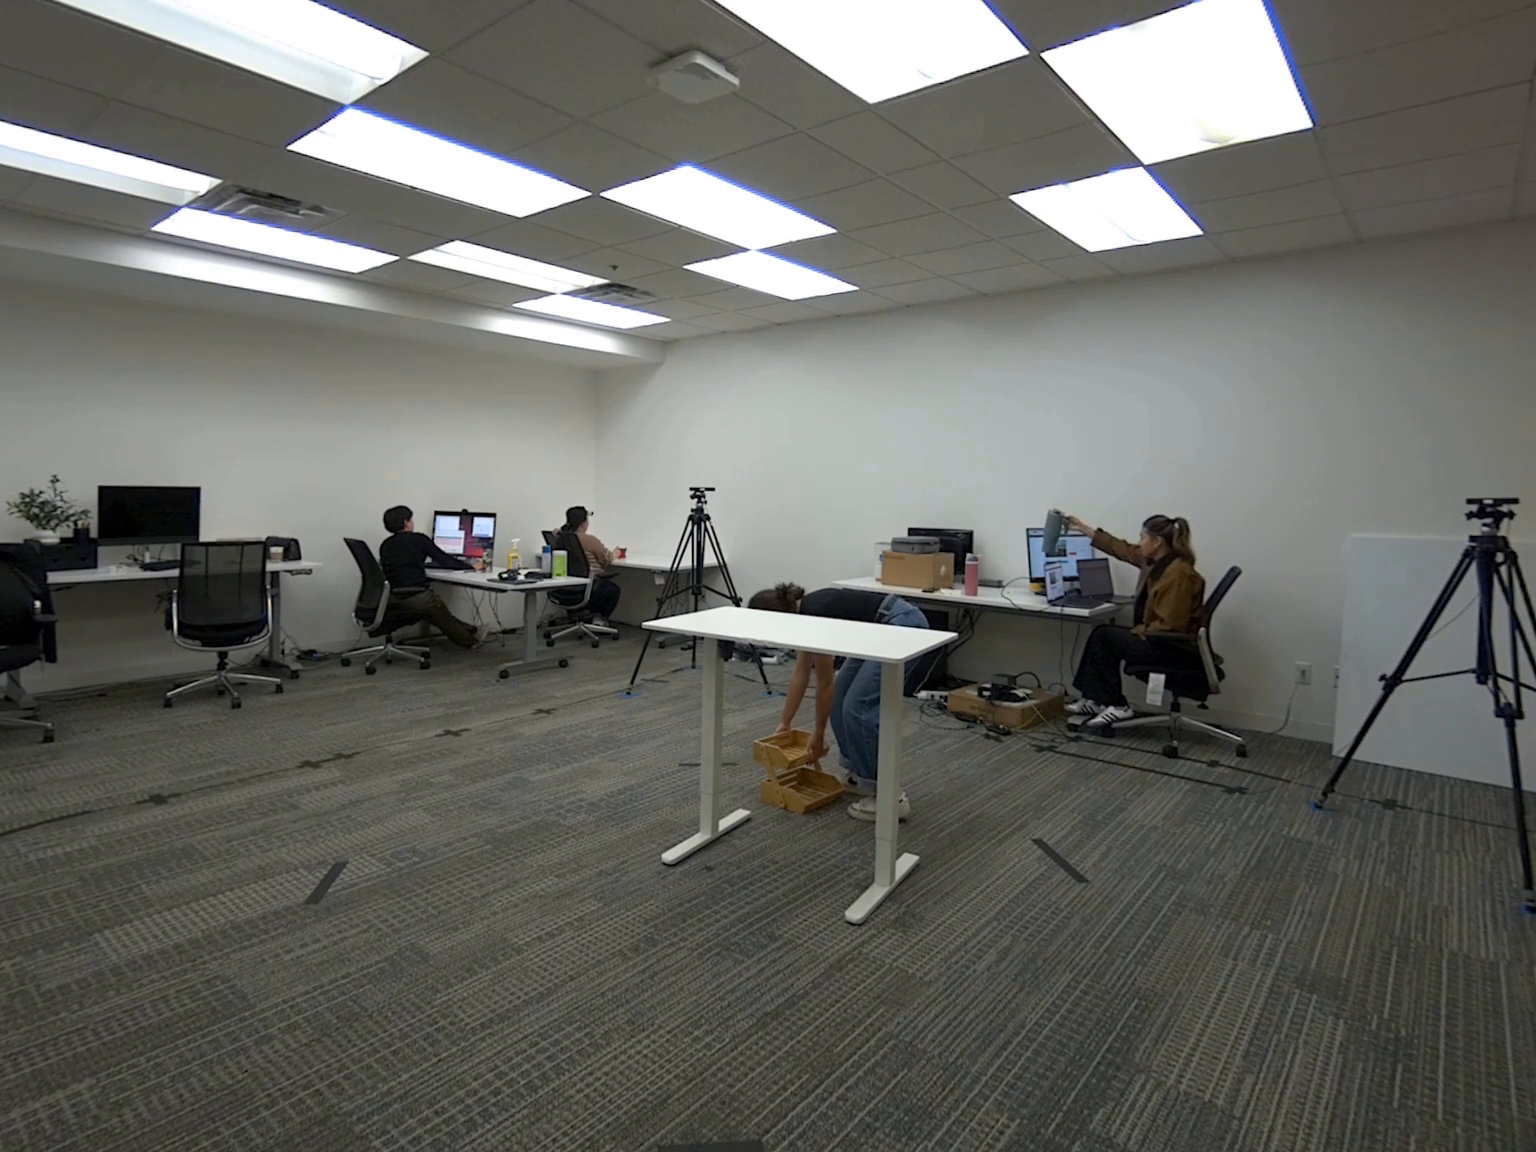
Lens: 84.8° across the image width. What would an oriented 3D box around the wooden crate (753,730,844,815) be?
[{"bbox_3d":[0.134,0.868,3.844,0.312,0.272,0.315,3,5,42],"label":"wooden crate"}]
